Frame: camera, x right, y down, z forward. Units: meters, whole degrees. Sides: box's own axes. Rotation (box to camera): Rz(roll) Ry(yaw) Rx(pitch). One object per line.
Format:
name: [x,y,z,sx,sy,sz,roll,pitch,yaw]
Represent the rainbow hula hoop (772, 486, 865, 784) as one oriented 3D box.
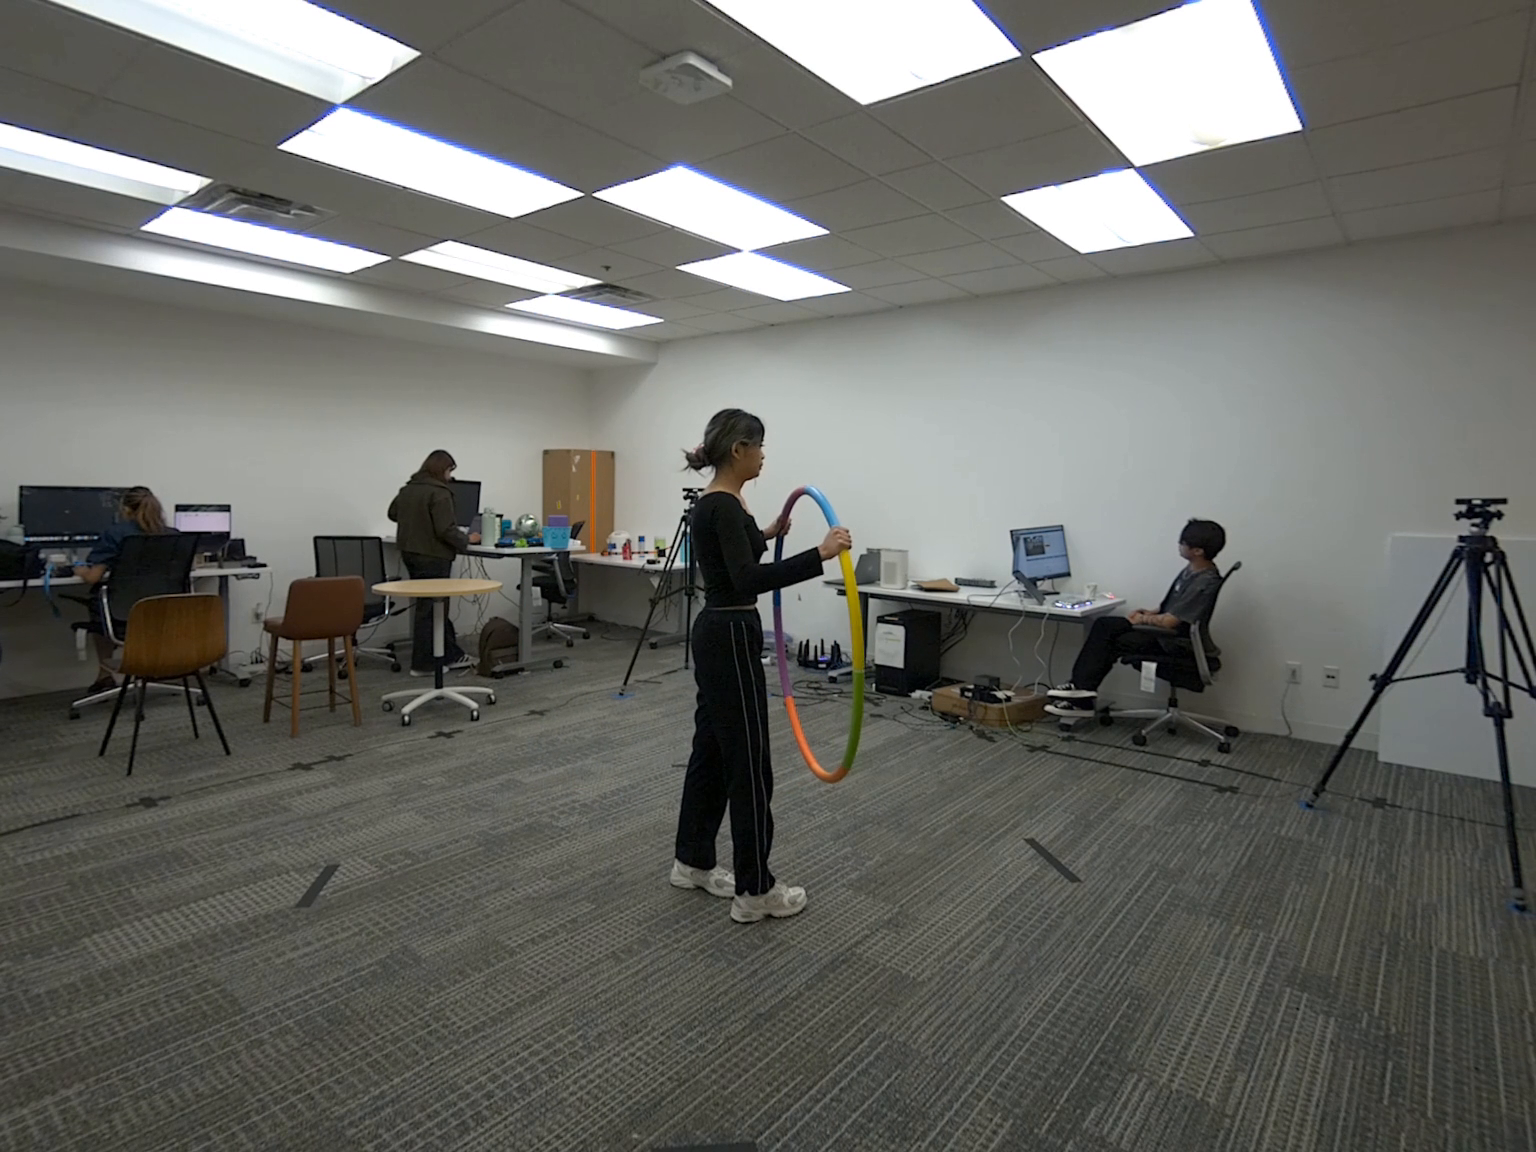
rainbow hula hoop: [0.135,0.189,2.895,0.035,0.975,0.993,-3,5,-12]
